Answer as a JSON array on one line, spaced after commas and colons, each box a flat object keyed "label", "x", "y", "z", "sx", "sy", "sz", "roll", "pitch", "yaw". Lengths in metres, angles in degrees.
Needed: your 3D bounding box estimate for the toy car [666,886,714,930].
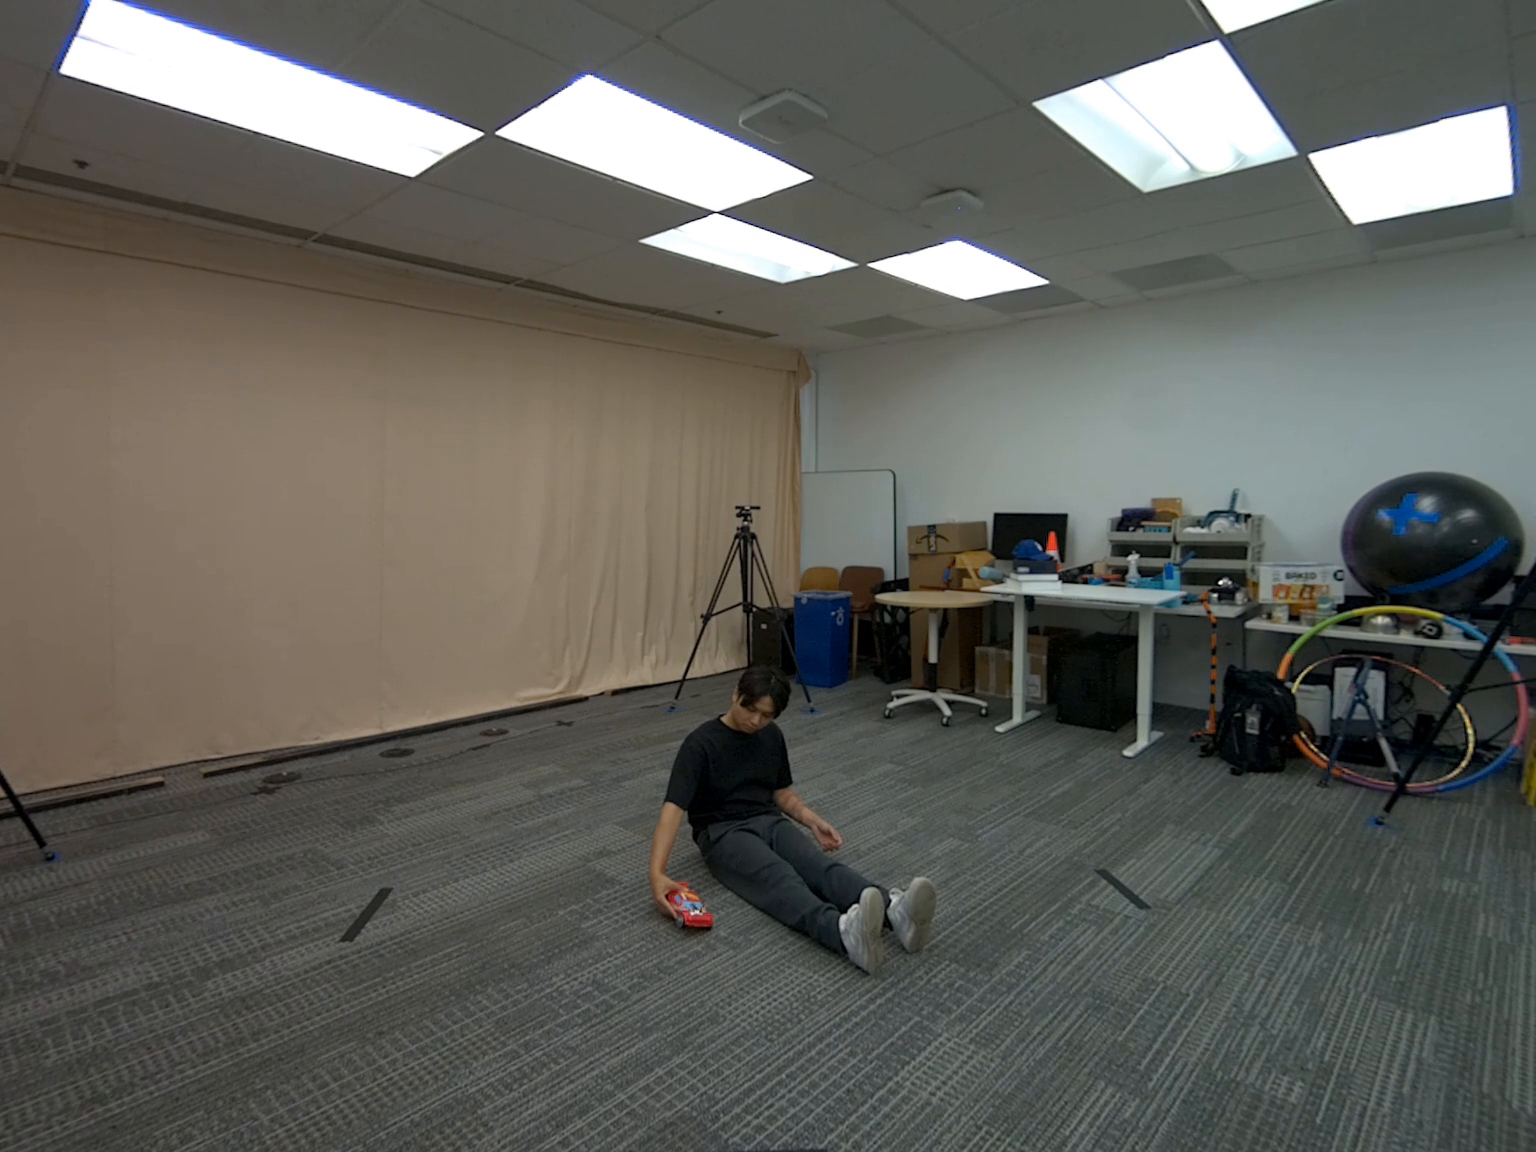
[{"label": "toy car", "x": -0.274, "y": 1.108, "z": 2.837, "sx": 0.127, "sy": 0.083, "sz": 0.261, "roll": 12, "pitch": 10, "yaw": -21}]
